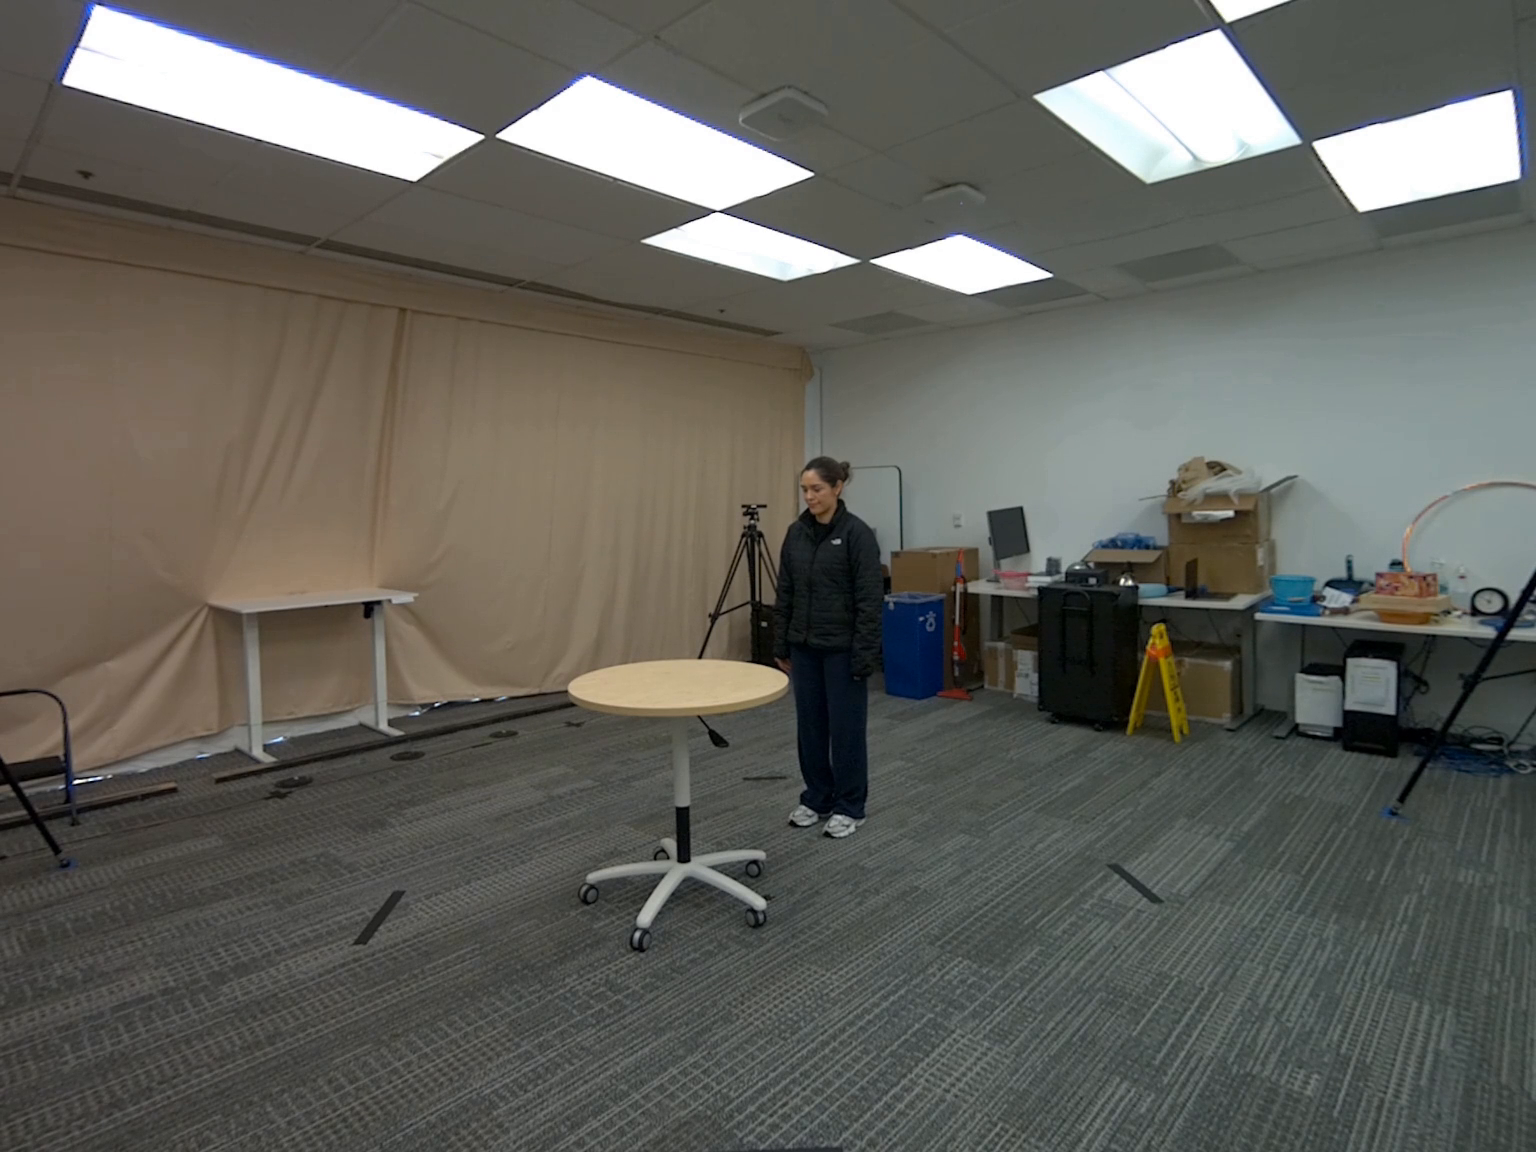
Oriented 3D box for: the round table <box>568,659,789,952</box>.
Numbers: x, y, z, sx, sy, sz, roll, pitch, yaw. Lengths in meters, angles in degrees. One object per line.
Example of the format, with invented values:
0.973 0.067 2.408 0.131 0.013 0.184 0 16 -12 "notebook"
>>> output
-0.290 0.753 2.973 0.784 0.784 0.788 -2 4 -2 "round table"
